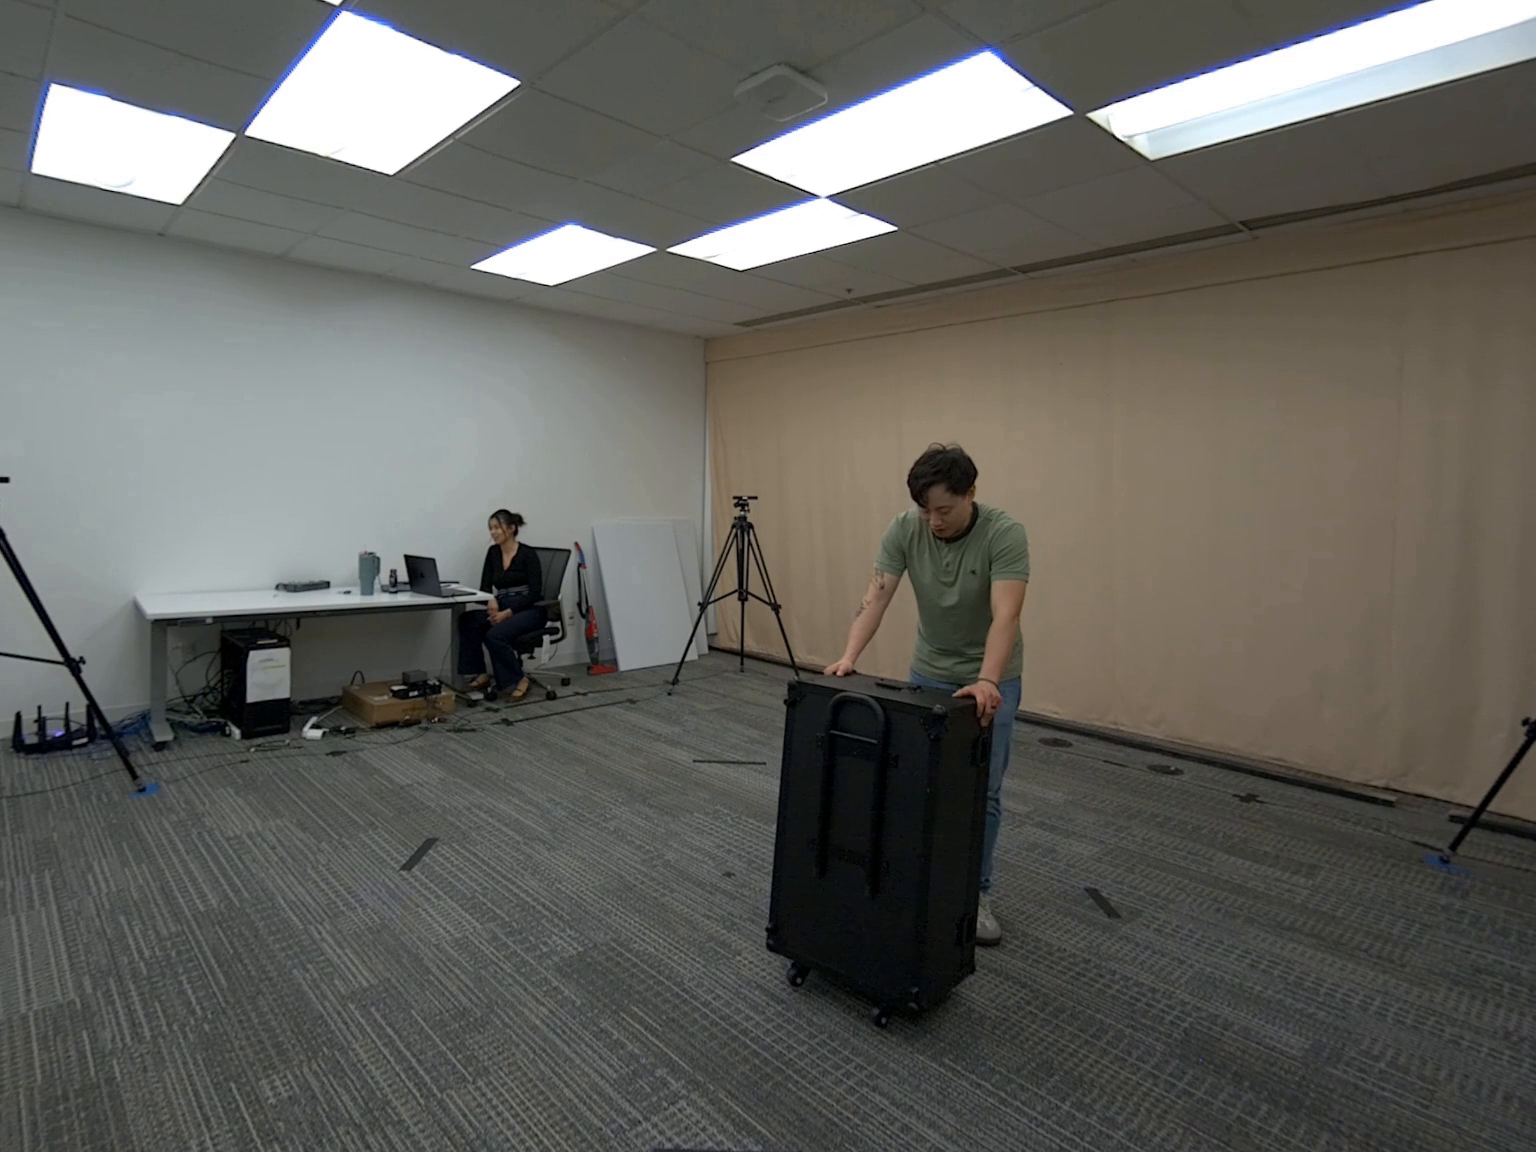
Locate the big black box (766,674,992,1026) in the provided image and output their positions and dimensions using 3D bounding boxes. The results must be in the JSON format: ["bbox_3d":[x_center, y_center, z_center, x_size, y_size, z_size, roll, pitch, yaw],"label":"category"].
[{"bbox_3d":[0.312,0.746,2.388,0.534,0.861,0.387,5,1,38],"label":"big black box"}]
